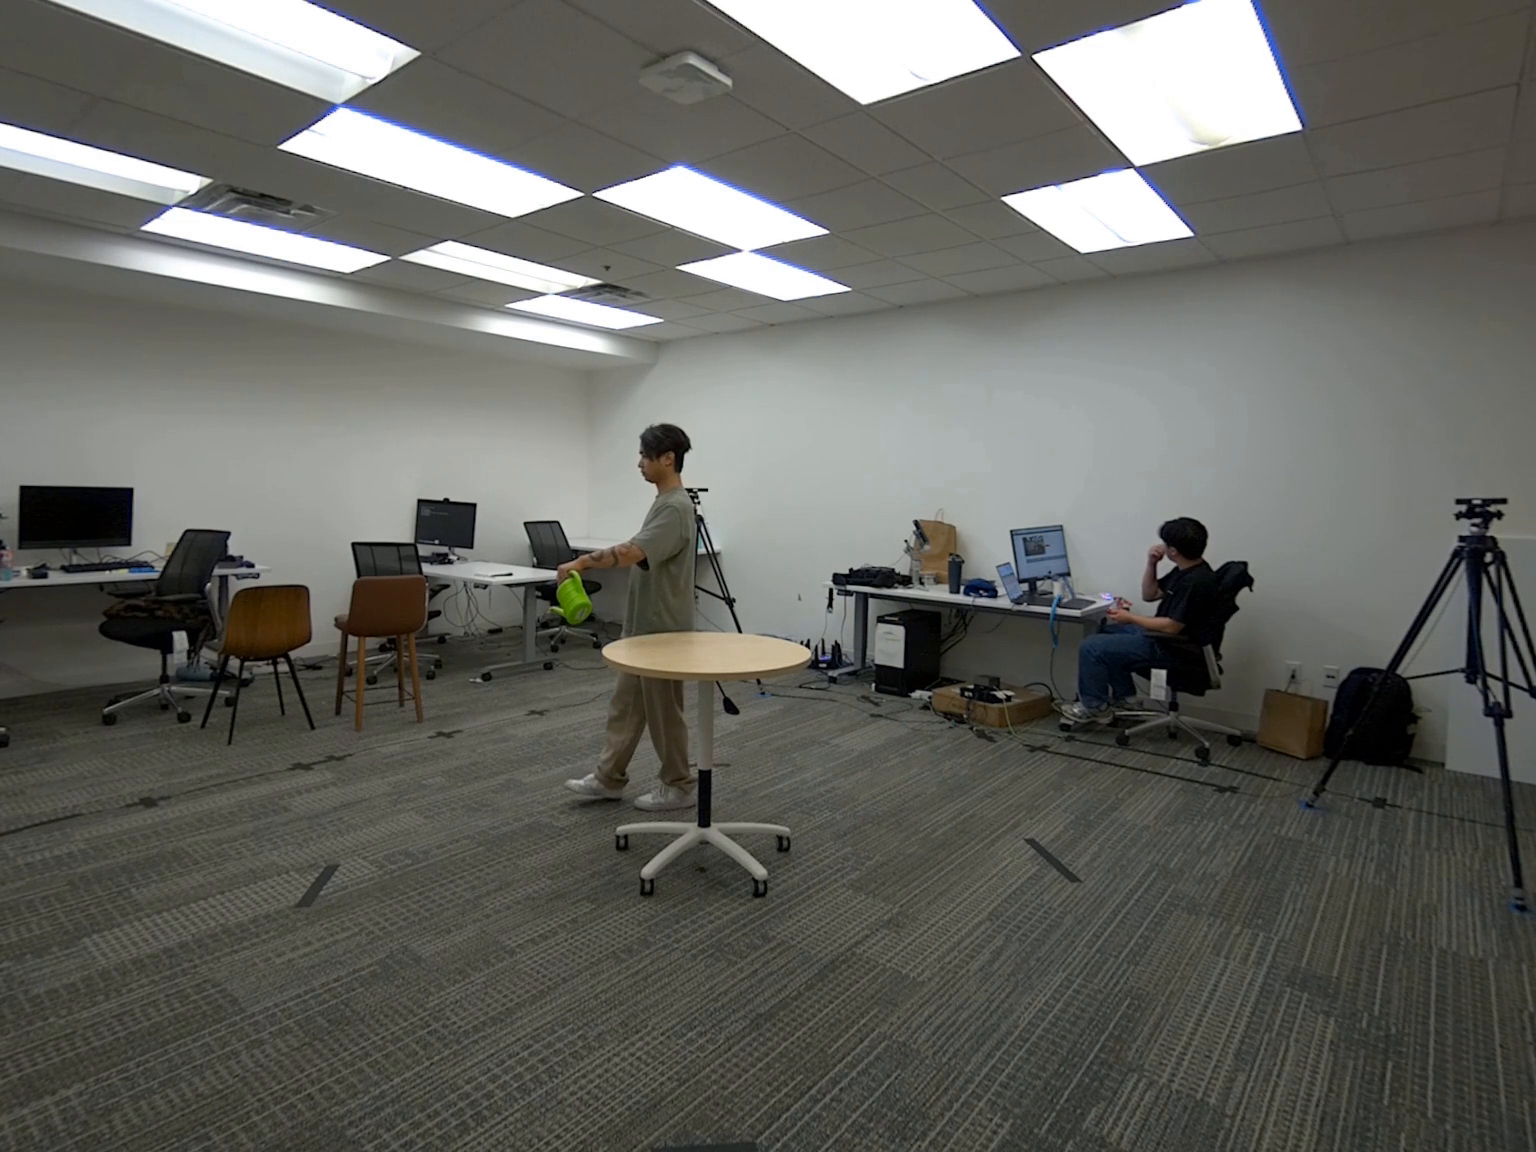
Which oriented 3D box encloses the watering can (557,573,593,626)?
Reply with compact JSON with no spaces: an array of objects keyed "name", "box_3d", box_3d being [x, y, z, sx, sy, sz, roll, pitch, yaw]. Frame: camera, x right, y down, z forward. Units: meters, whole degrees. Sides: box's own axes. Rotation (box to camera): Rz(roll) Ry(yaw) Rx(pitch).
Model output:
[{"name":"watering can","box_3d":[-0.791,0.108,3.343,0.096,0.183,0.274,-13,-35,-32]}]
